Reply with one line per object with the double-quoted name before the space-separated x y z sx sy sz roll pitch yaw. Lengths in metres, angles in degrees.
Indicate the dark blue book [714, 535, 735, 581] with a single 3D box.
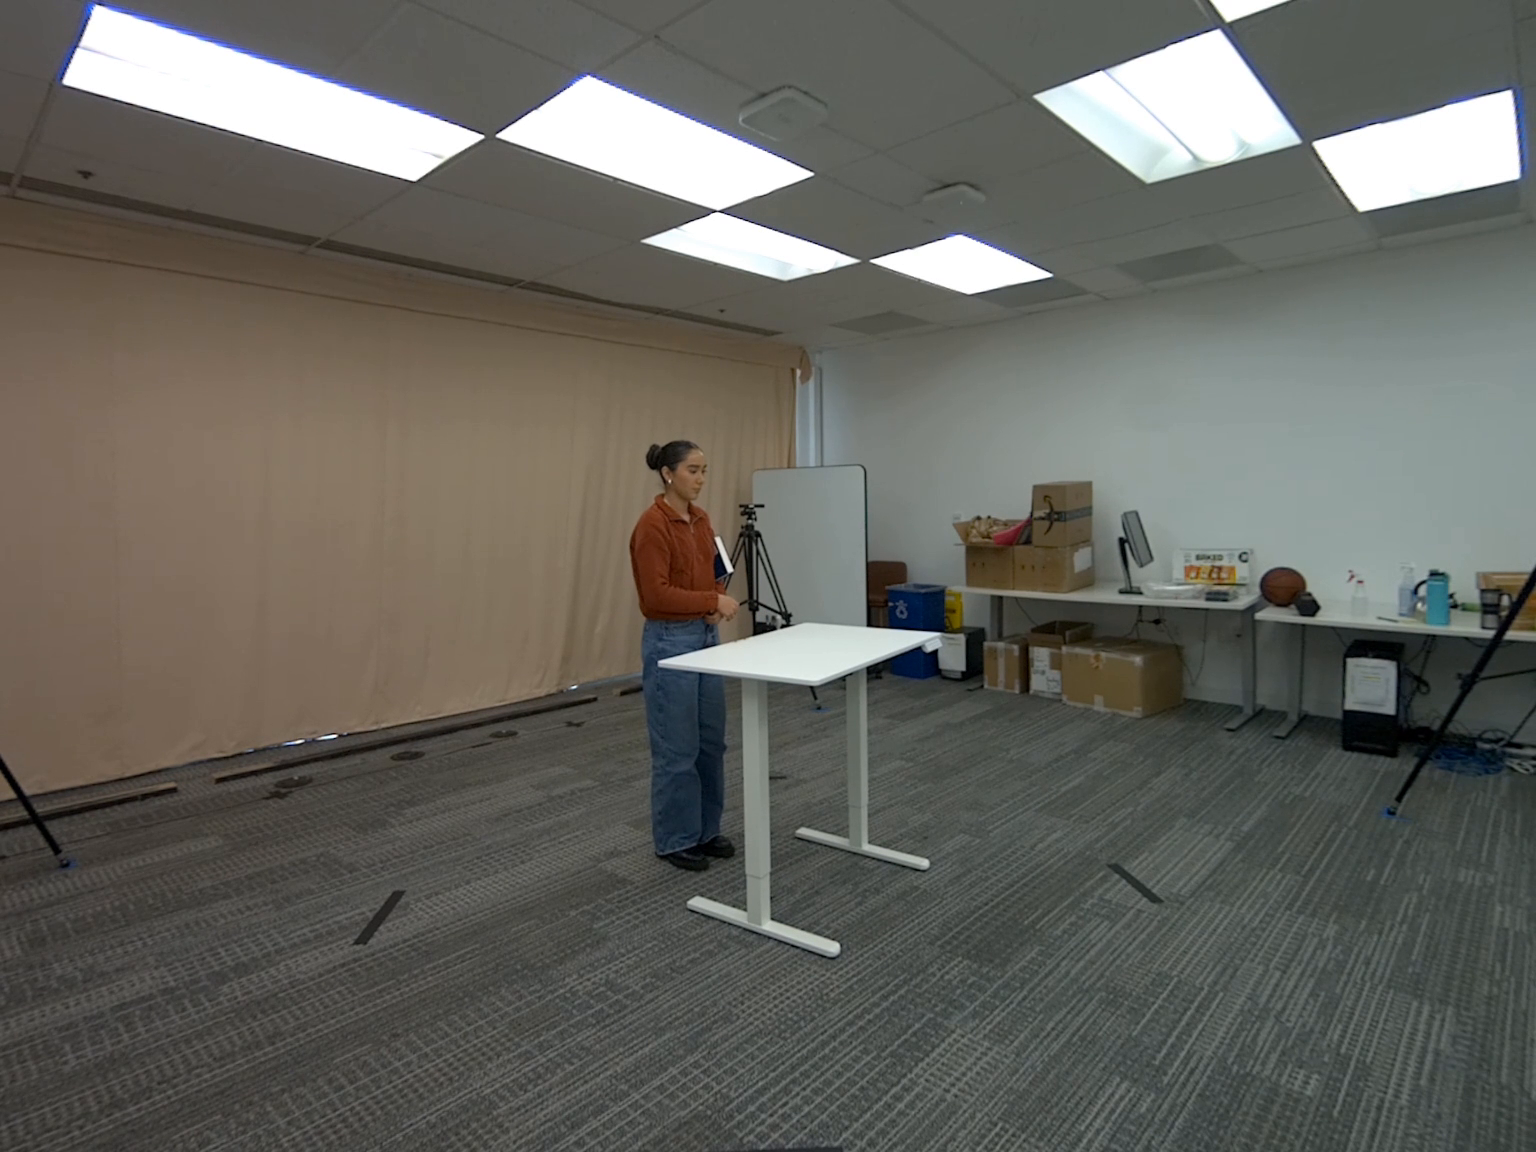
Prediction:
"dark blue book" -0.256 -0.046 3.417 0.249 0.165 0.044 -28 -13 36
